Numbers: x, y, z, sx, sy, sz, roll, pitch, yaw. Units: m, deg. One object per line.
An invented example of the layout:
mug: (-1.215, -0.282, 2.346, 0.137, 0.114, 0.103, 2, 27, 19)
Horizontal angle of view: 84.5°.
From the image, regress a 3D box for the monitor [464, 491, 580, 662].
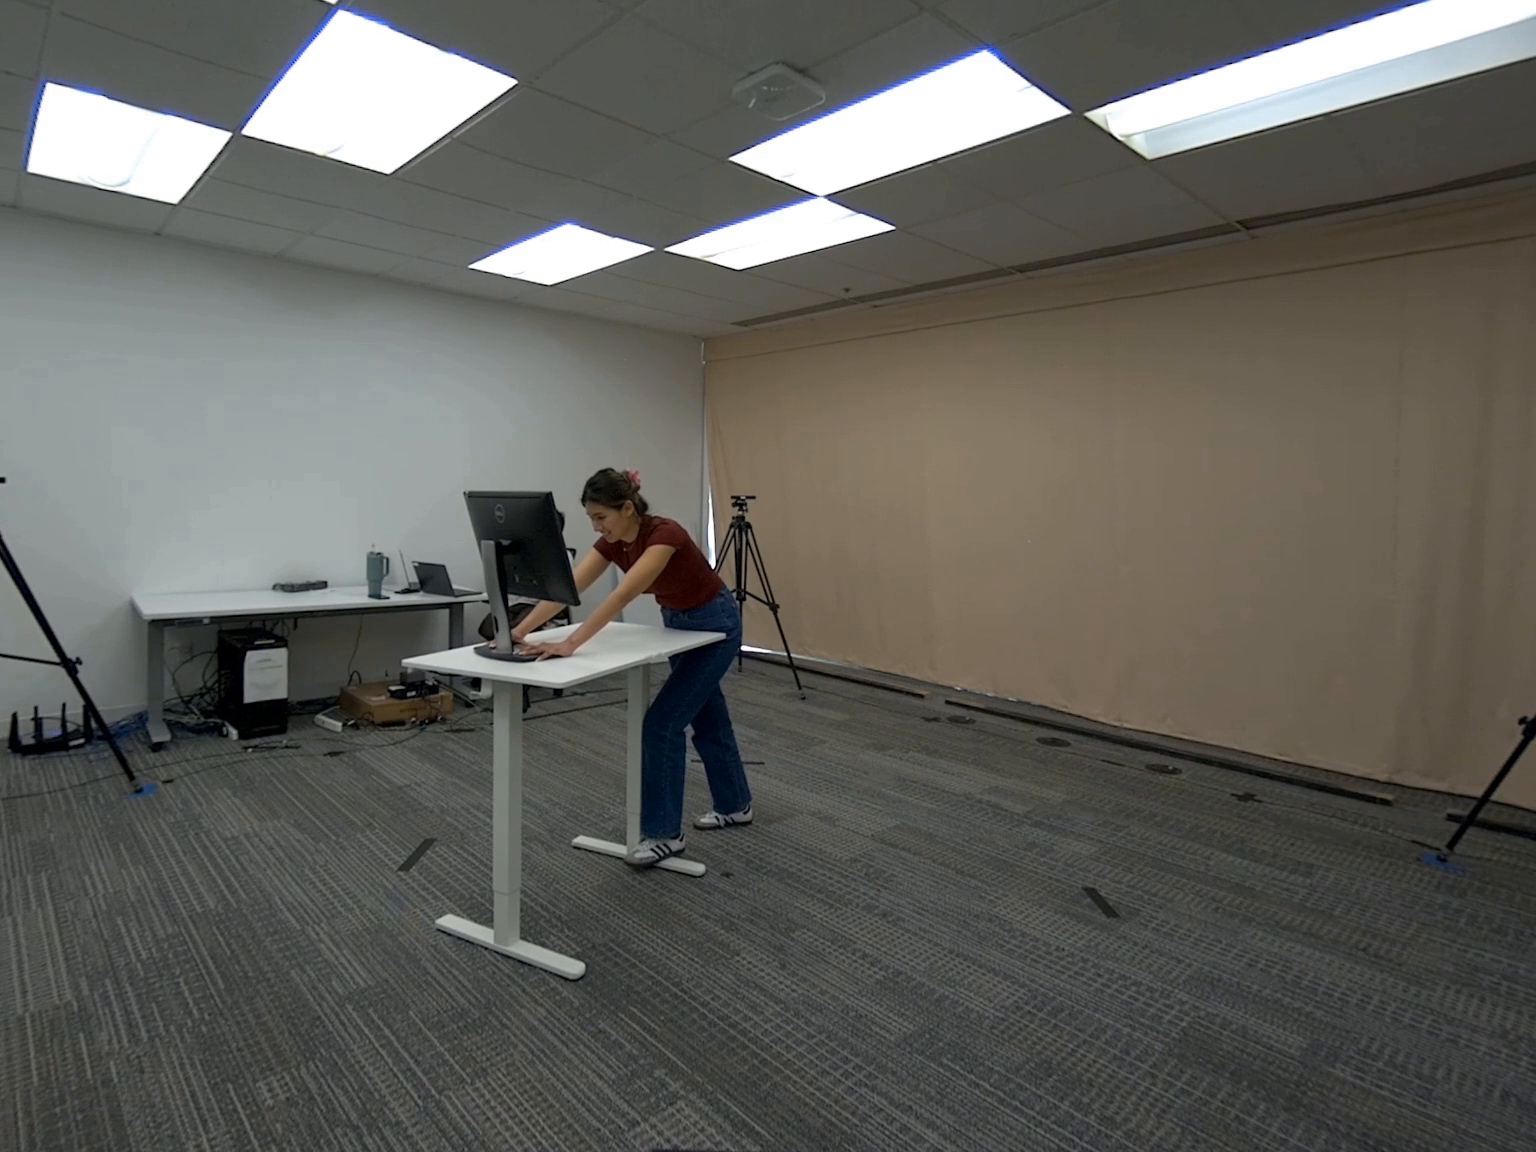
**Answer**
monitor: (-0.816, -0.002, 2.624, 0.552, 0.521, 0.183, 4, 6, 41)
